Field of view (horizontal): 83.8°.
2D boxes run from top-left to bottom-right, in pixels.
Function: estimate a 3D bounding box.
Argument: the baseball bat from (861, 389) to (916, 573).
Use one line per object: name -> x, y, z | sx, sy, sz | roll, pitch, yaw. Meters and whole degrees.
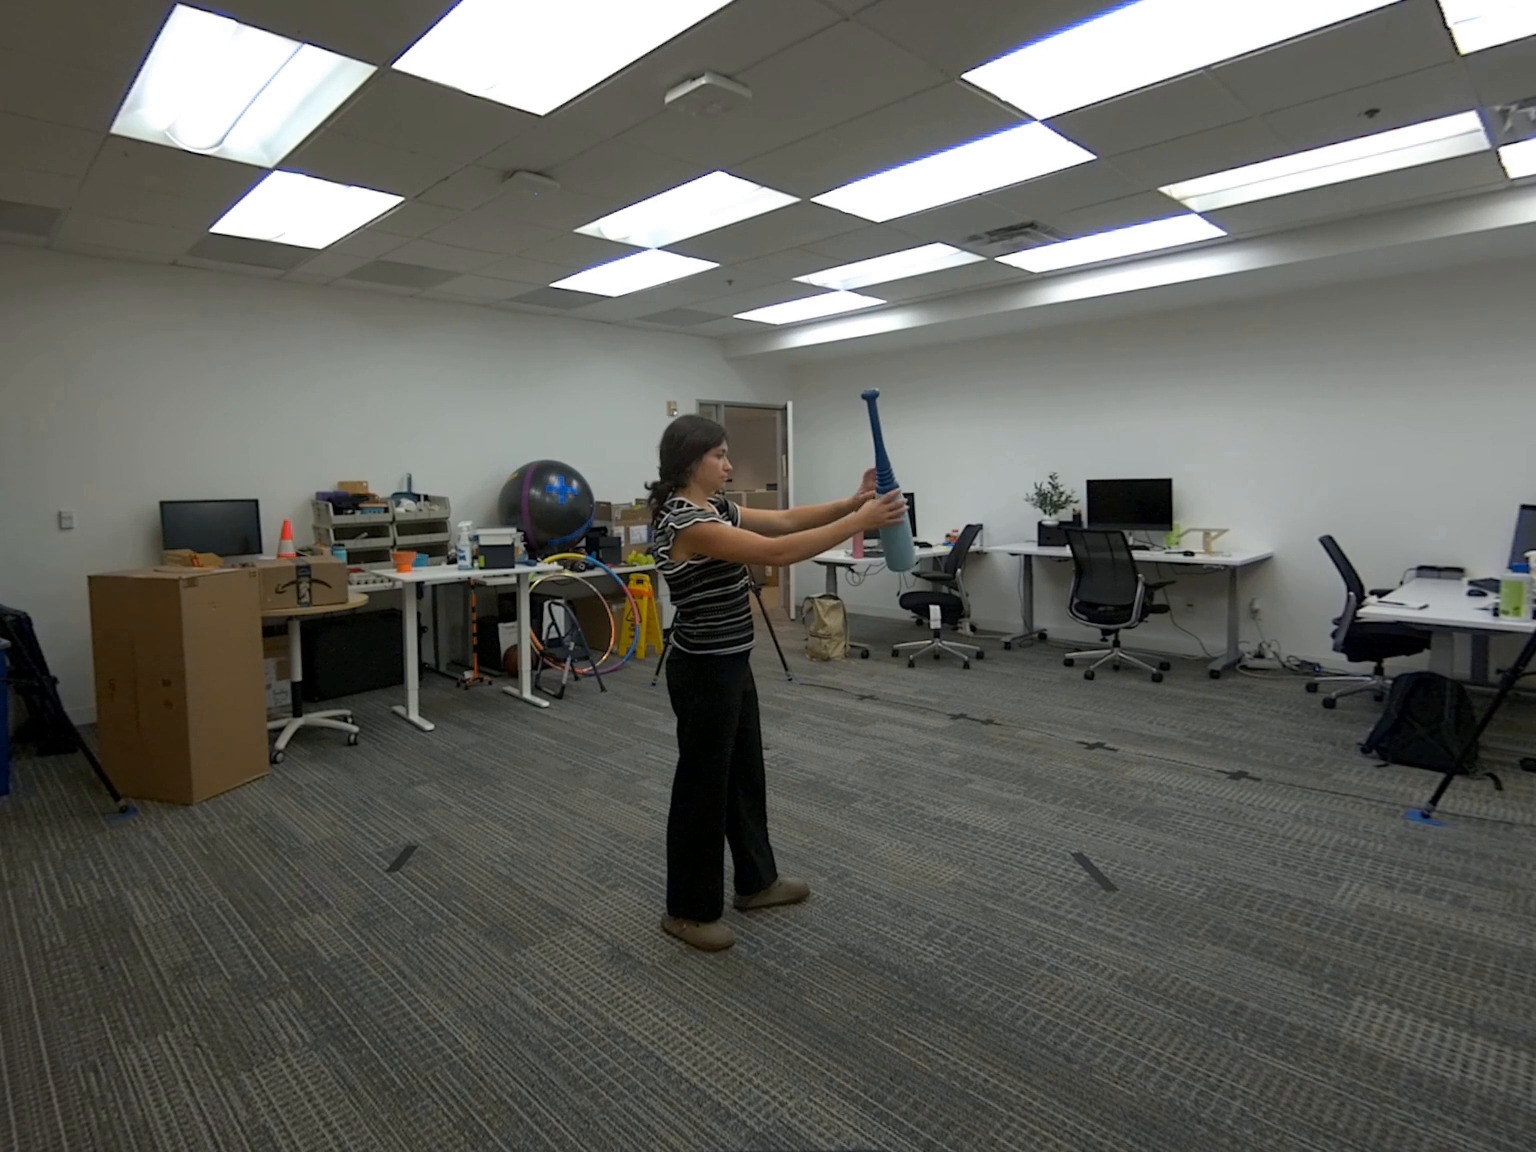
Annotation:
baseball bat -> 0.328, -0.262, 2.394 | 0.089, 0.531, 0.091 | -12, 21, 3
